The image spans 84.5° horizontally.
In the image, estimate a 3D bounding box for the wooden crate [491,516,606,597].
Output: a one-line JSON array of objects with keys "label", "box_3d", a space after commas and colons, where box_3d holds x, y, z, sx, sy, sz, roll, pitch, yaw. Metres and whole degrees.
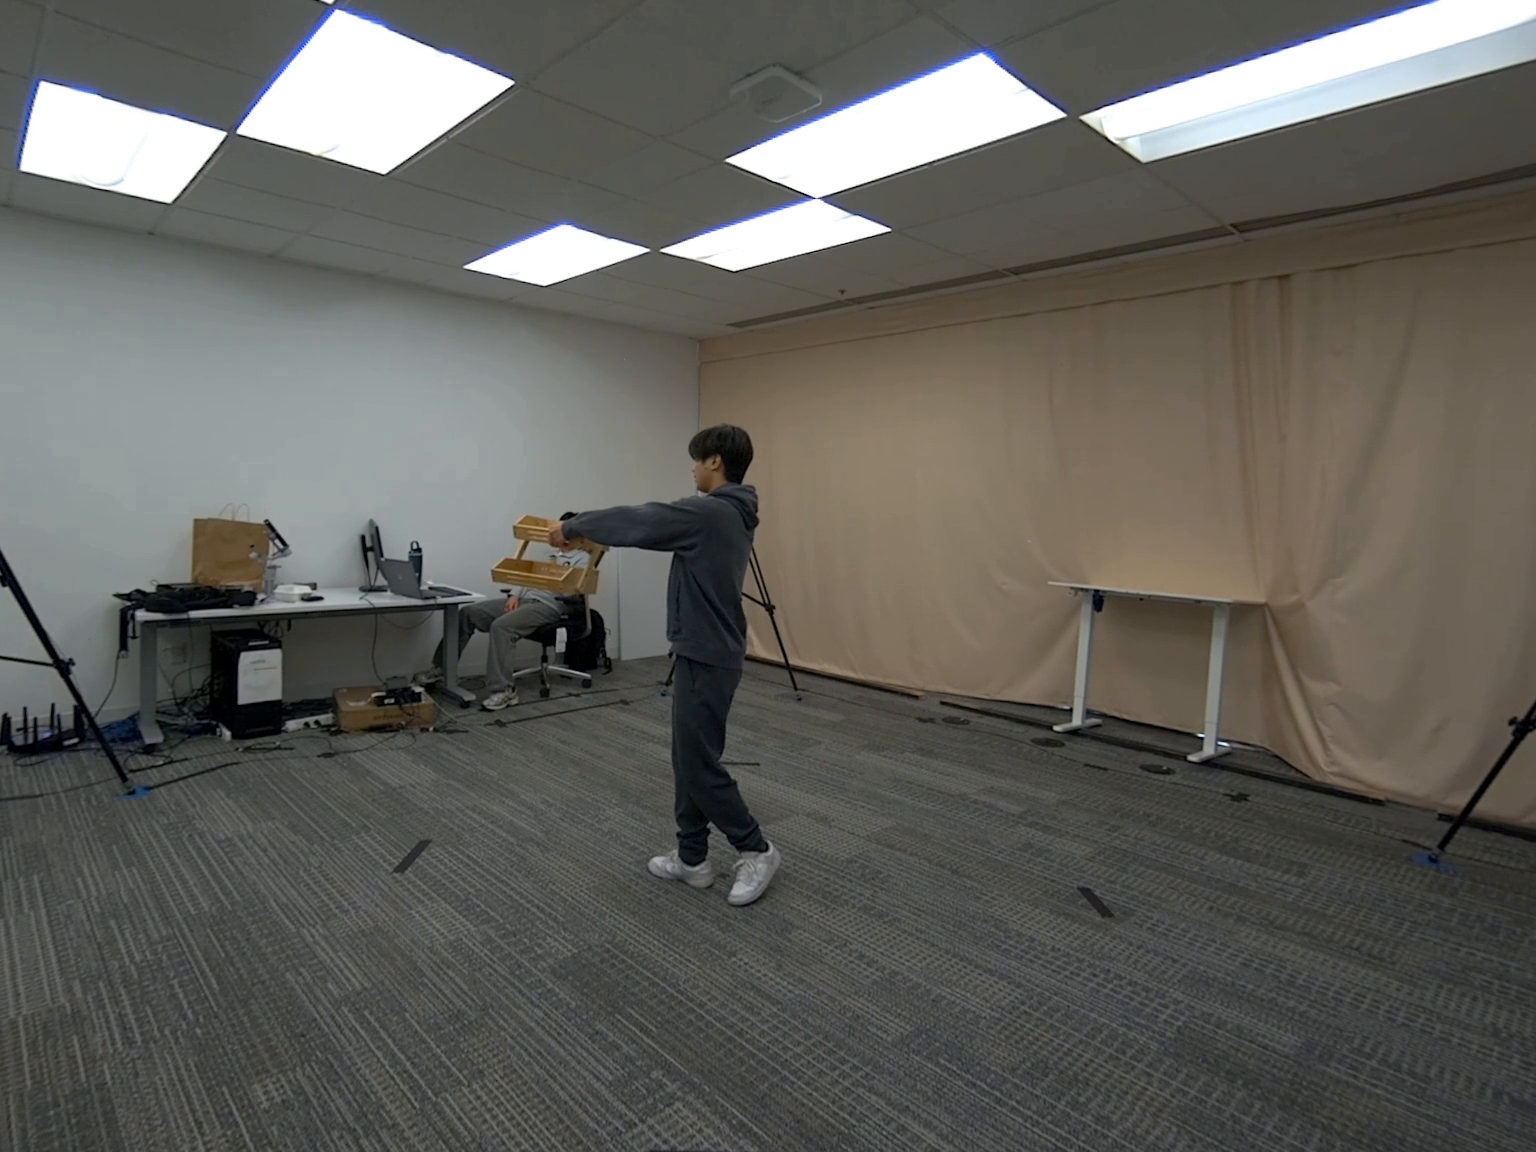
[{"label": "wooden crate", "box_3d": [-0.803, -0.081, 3.123, 0.330, 0.273, 0.297, 8, 2, 20]}]
